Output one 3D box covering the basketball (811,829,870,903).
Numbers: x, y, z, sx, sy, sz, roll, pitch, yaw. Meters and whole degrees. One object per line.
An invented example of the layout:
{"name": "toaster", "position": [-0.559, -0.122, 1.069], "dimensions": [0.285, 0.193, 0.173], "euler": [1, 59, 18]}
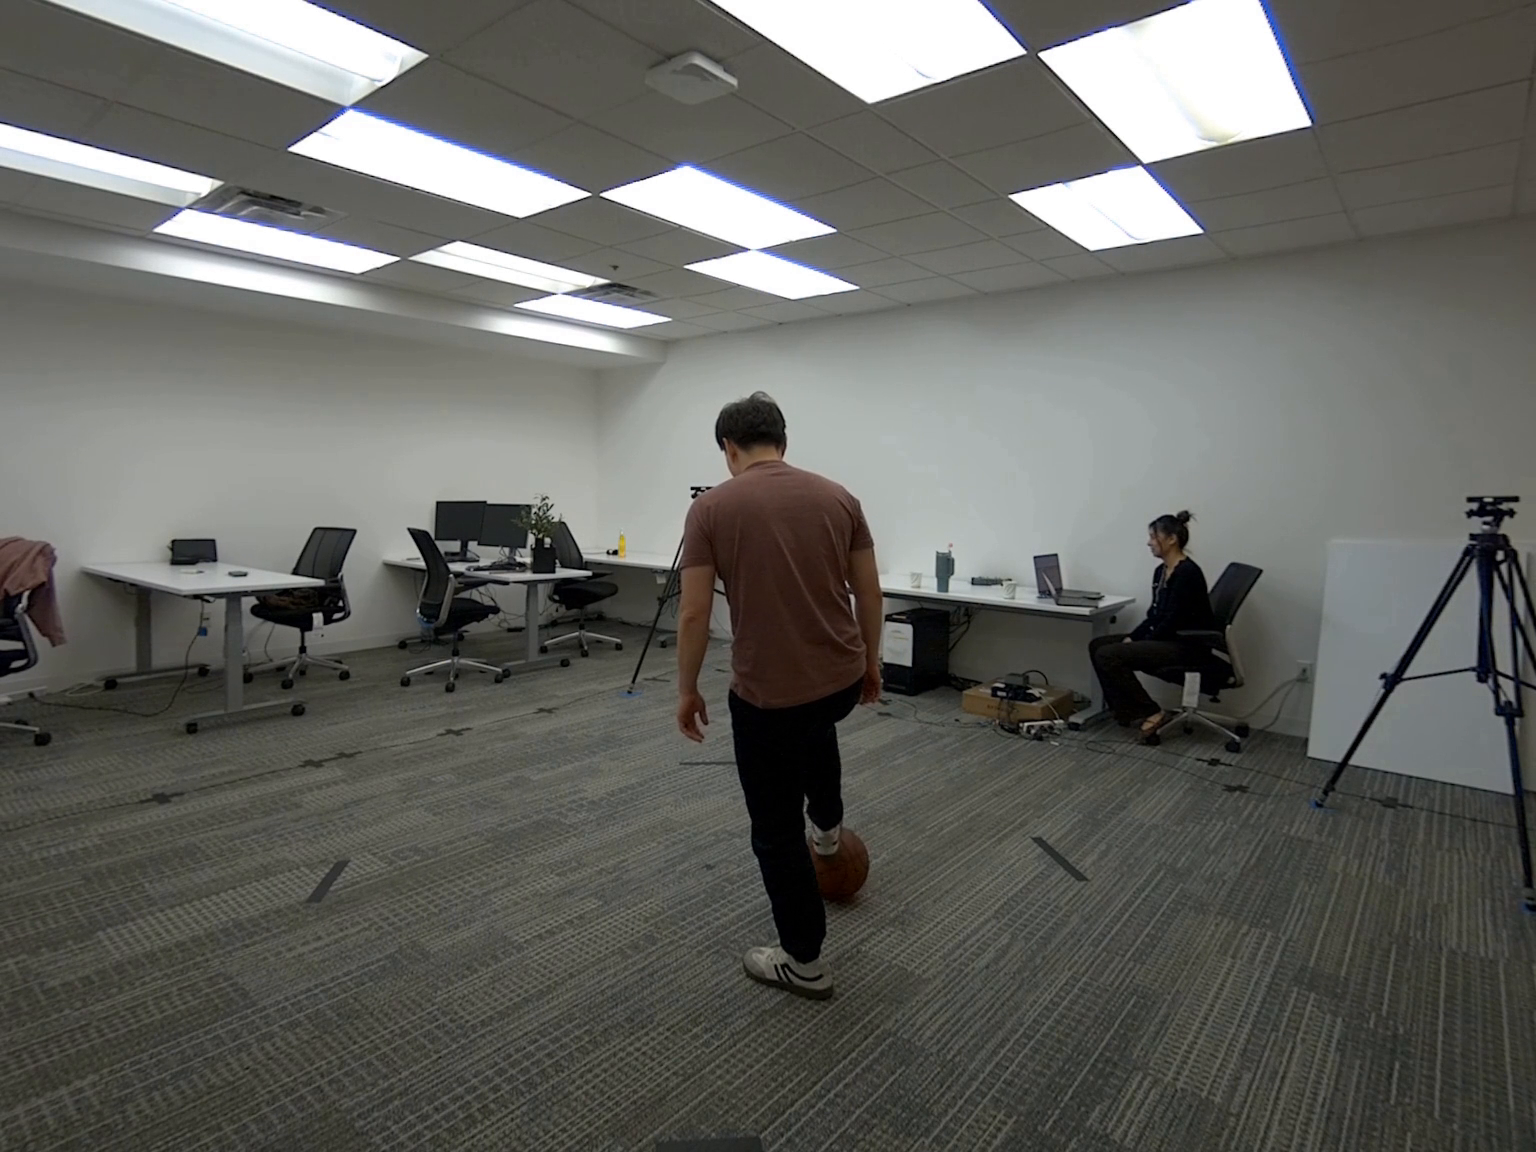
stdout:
{"name": "basketball", "position": [0.219, 0.977, 2.907], "dimensions": [0.235, 0.235, 0.237], "euler": [1, 4, -2]}
